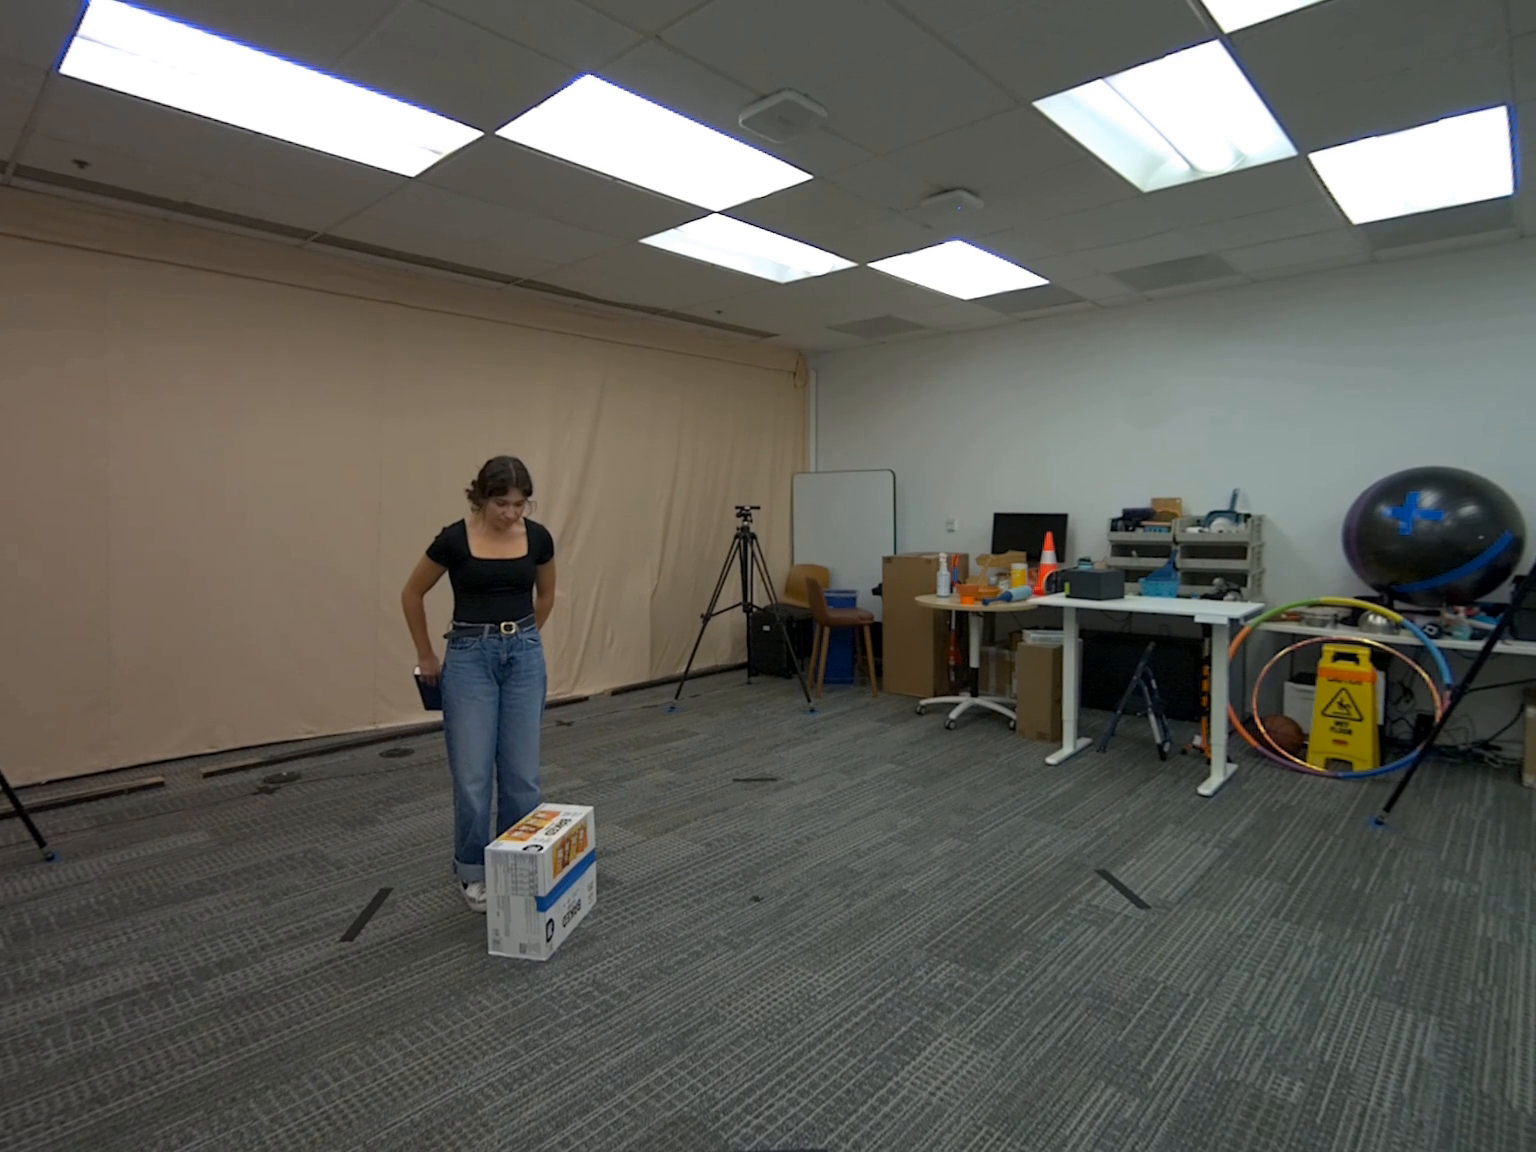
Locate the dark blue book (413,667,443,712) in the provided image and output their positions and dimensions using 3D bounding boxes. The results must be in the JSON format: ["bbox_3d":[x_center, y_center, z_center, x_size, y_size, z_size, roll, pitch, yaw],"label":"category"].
[{"bbox_3d":[-1.242,0.426,3.187,0.162,0.241,0.046,1,47,-8],"label":"dark blue book"}]
